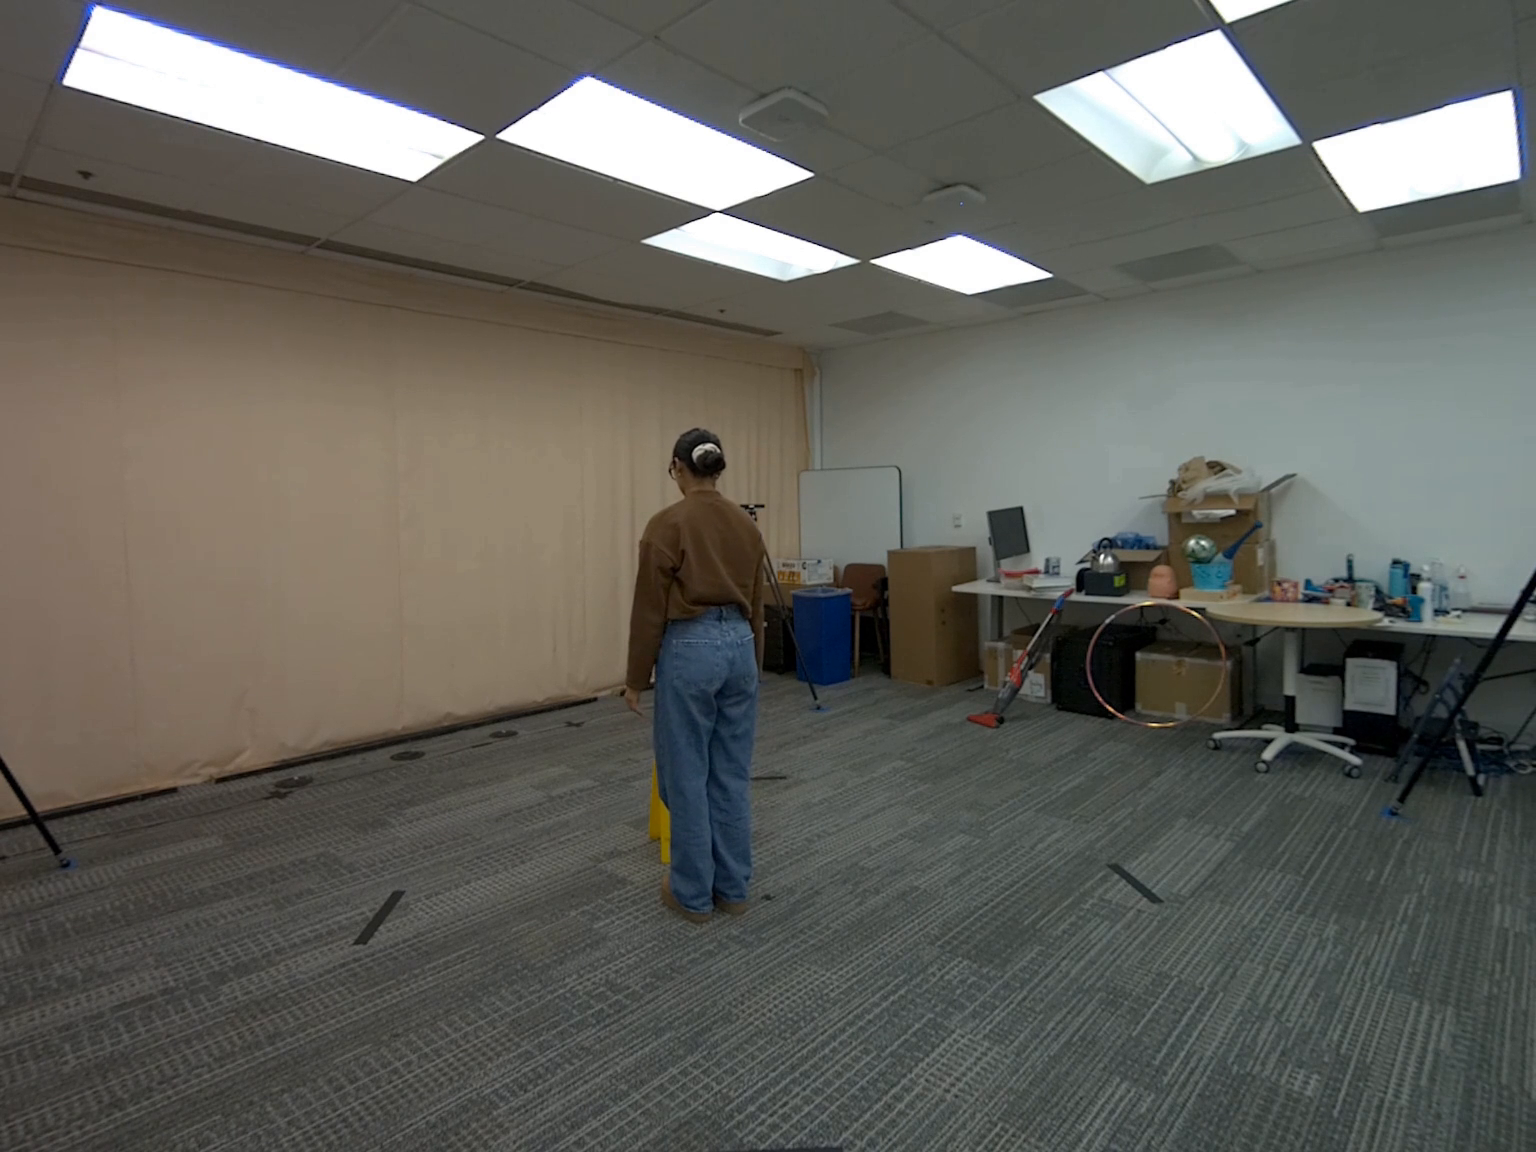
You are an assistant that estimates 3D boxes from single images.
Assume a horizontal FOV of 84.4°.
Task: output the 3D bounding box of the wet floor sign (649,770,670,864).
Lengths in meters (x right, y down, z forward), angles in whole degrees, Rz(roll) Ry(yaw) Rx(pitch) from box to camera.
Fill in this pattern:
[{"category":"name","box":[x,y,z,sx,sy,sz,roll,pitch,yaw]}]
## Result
[{"category":"wet floor sign","box":[-0.333,0.782,3.434,0.277,0.645,0.295,-1,2,-18]}]
